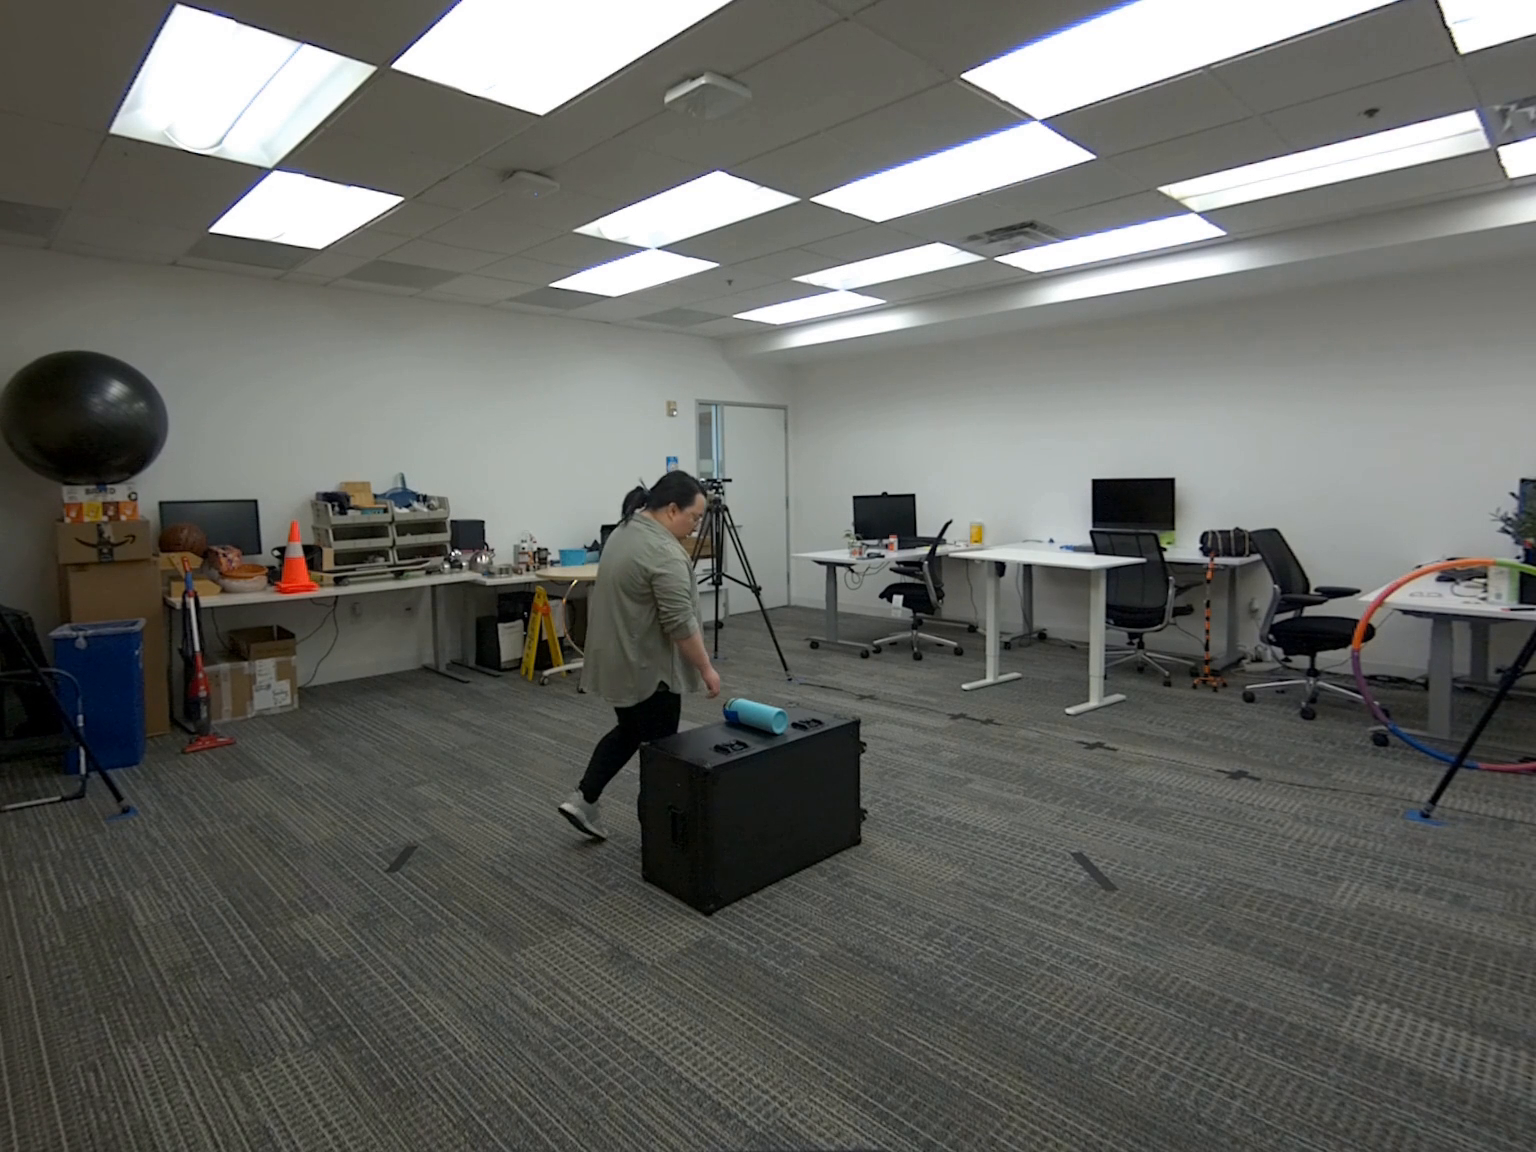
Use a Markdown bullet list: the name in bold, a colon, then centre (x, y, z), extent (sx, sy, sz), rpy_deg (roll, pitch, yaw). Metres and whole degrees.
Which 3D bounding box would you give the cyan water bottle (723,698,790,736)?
- **cyan water bottle**: centre (-0.053, 0.504, 3.153), extent (0.090, 0.092, 0.292), rpy_deg (-5, 8, -43)
